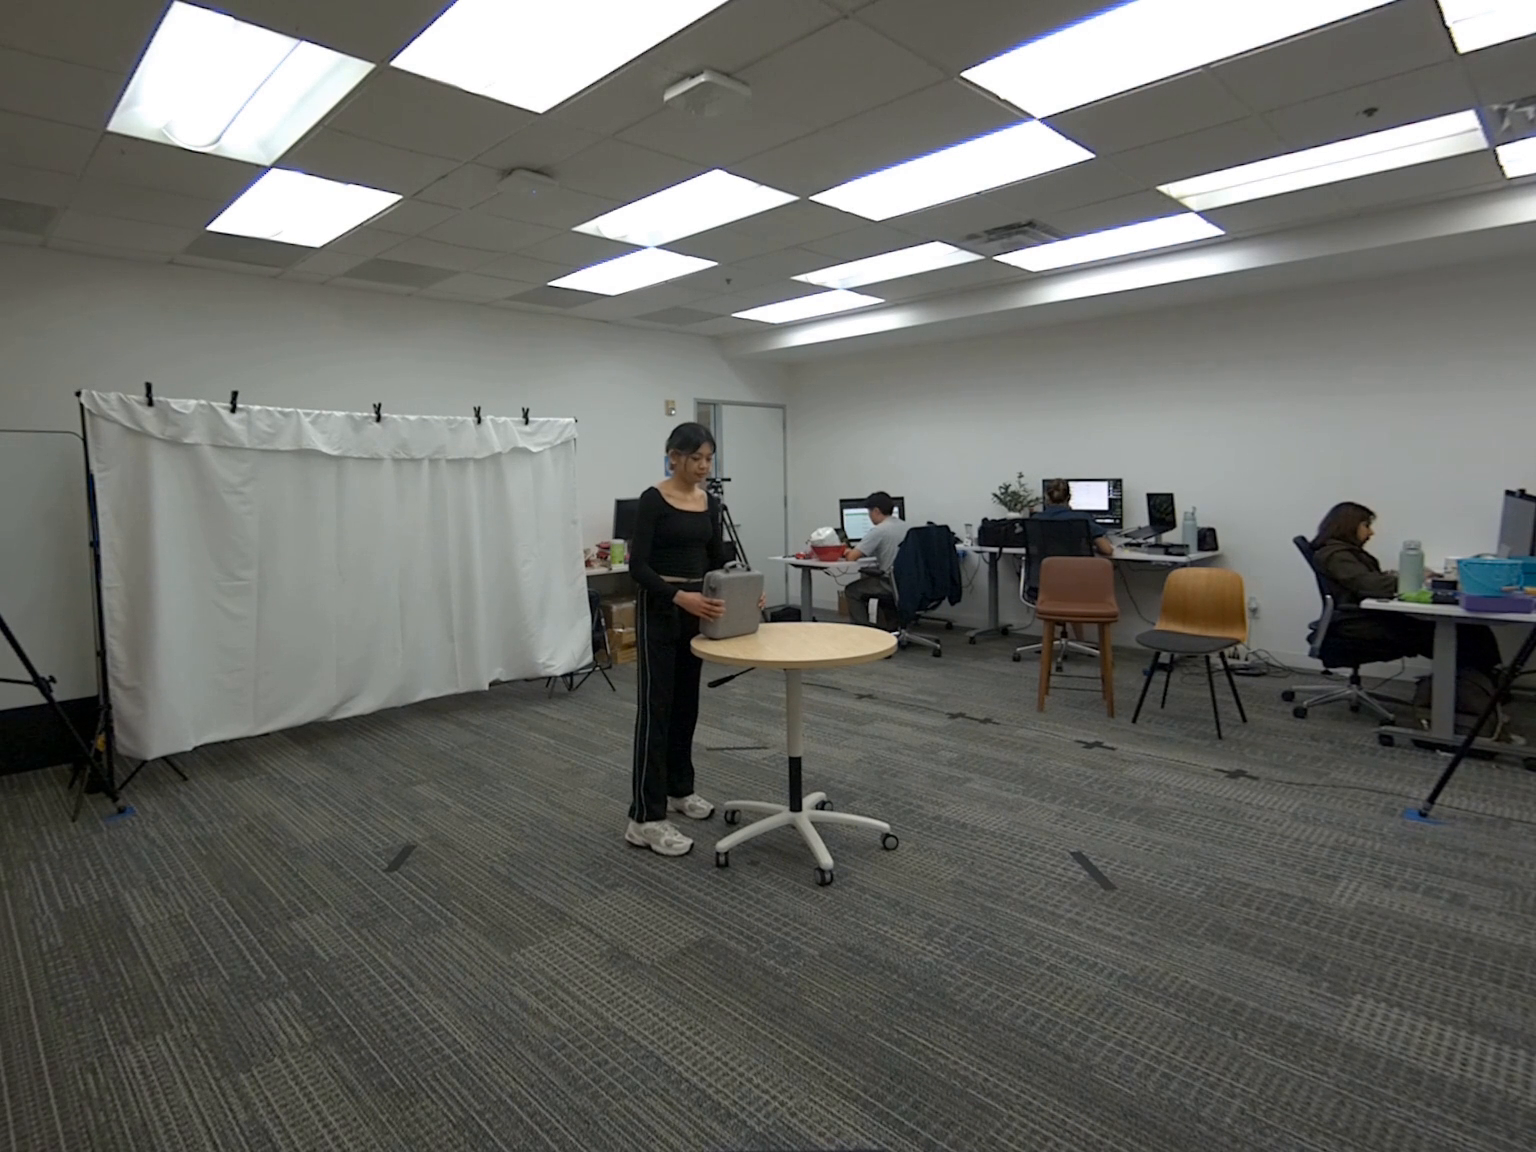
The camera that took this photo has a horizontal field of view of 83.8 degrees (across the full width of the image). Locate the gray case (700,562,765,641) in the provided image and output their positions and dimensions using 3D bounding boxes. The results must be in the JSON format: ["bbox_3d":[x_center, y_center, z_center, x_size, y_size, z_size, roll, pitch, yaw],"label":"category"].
[{"bbox_3d":[-0.138,0.099,3.283,0.250,0.259,0.108,-4,12,-44],"label":"gray case"}]
